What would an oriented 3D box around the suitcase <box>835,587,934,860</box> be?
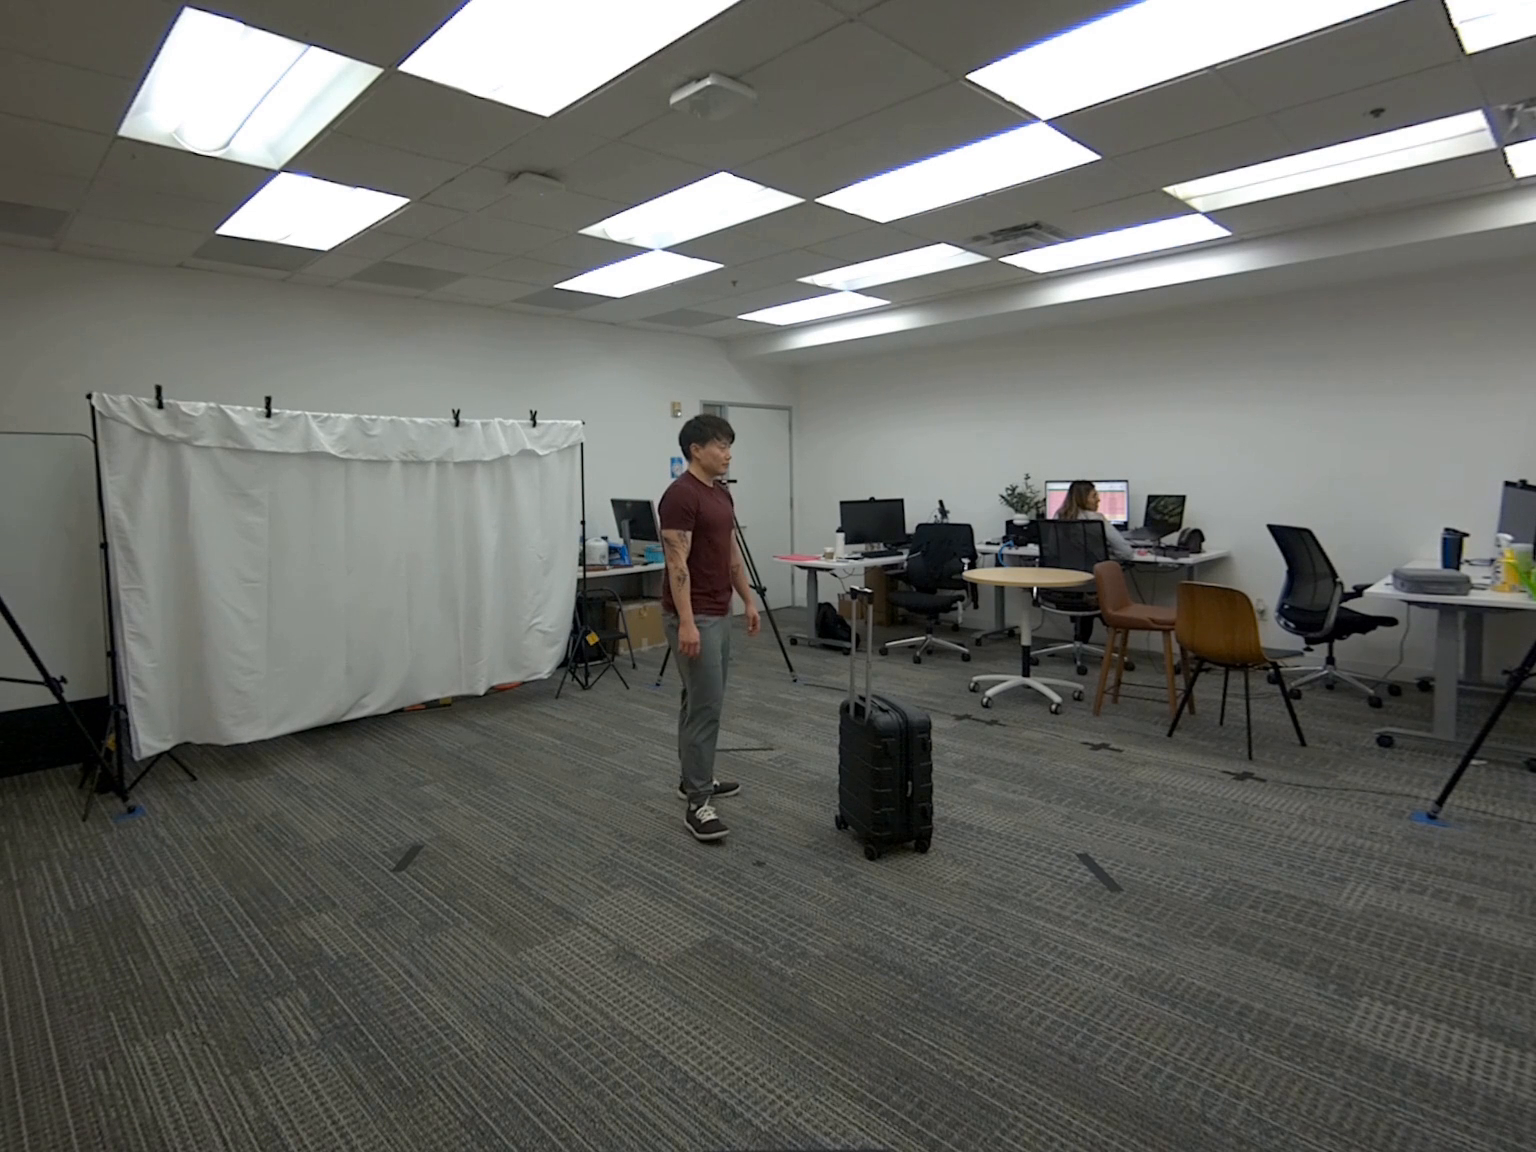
[{"bbox_3d":[0.451,0.542,3.265,0.253,0.976,0.390,0,4,-15],"label":"suitcase"}]
